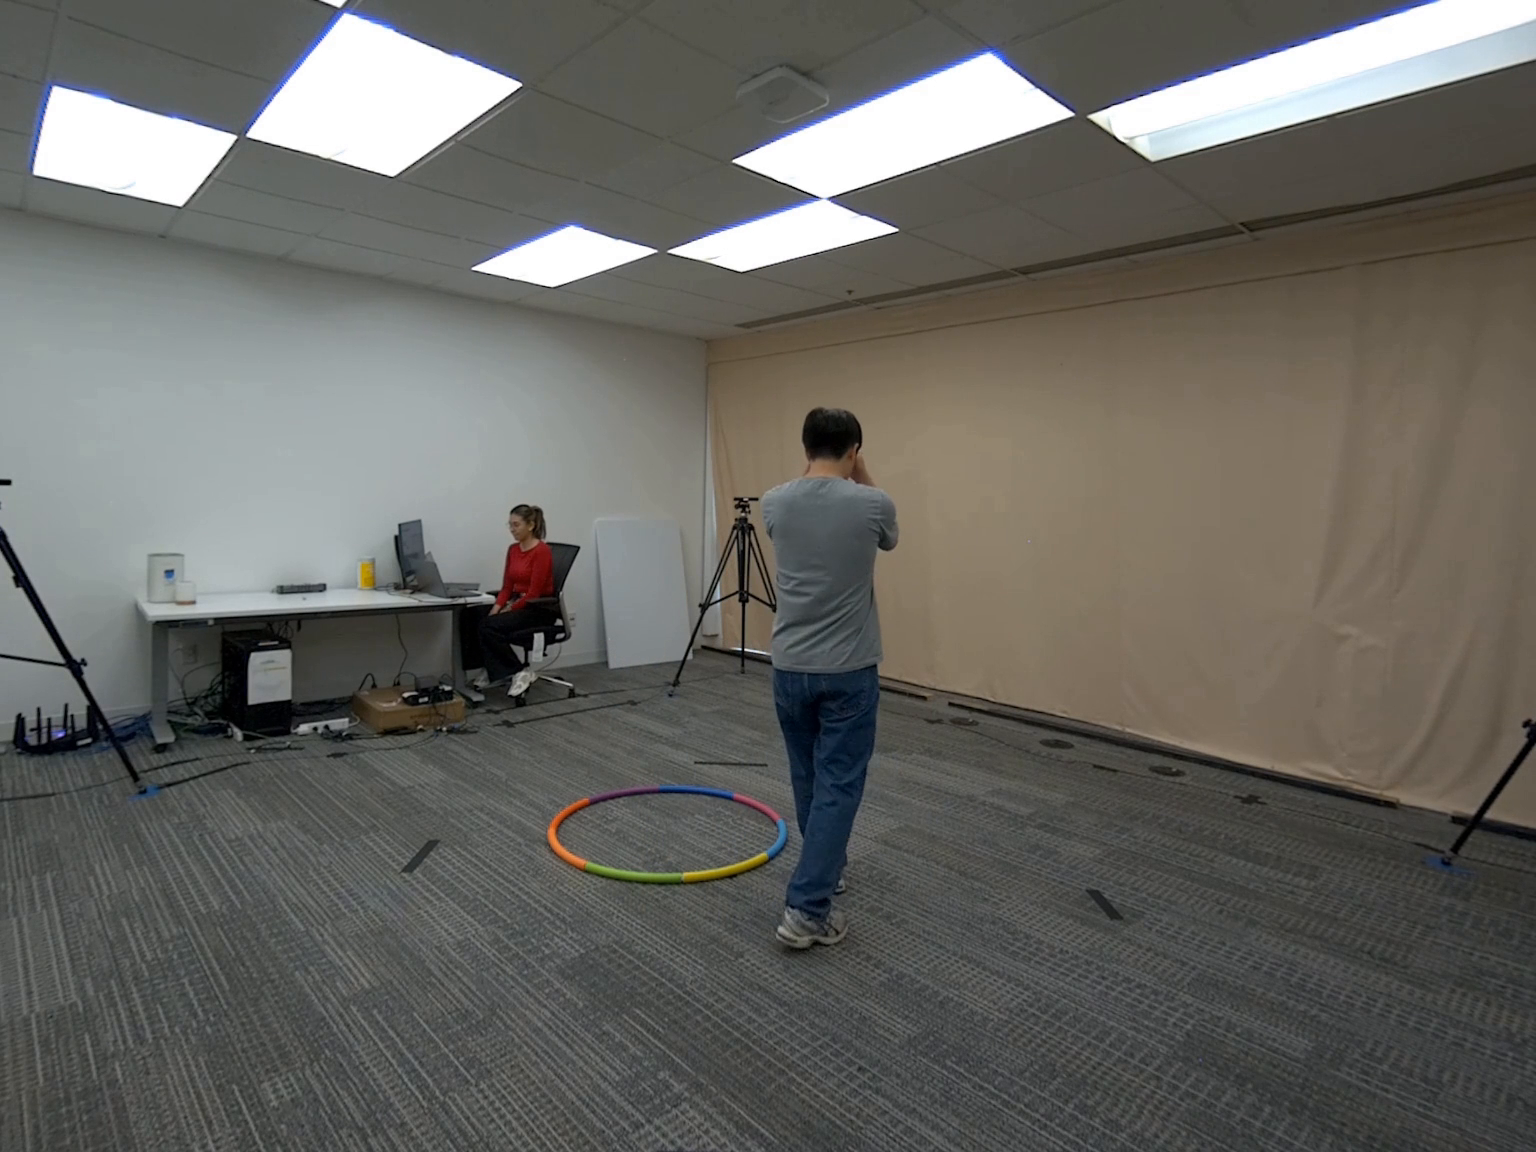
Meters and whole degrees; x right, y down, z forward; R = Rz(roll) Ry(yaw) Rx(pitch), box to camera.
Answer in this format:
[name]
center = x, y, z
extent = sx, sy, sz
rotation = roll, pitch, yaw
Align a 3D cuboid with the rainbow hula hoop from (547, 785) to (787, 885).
[rainbow hula hoop]
center = -0.423, 1.034, 3.510
extent = 0.978, 0.035, 0.982
rotation = 2, 5, -1
